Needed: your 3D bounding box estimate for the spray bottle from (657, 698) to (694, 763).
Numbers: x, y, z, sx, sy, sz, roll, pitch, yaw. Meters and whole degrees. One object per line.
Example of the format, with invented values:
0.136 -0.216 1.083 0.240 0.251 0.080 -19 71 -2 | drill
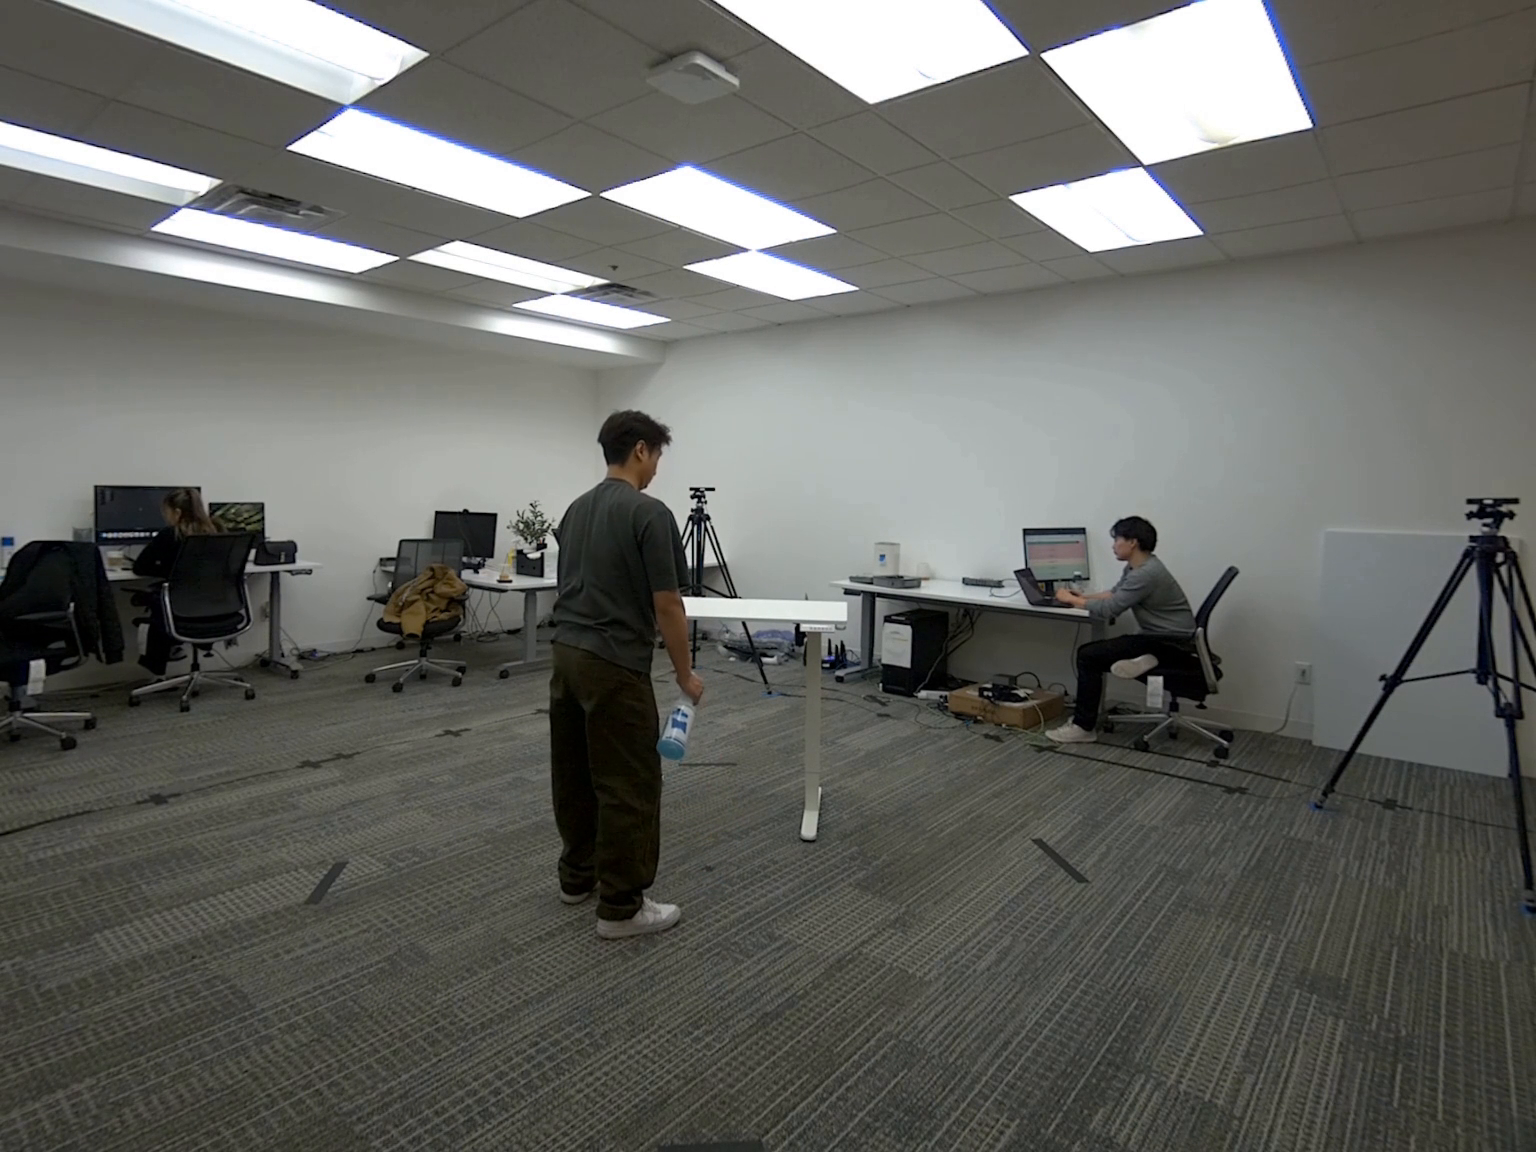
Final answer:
-0.280 0.430 2.656 0.088 0.303 0.088 38 -51 -21 | spray bottle
